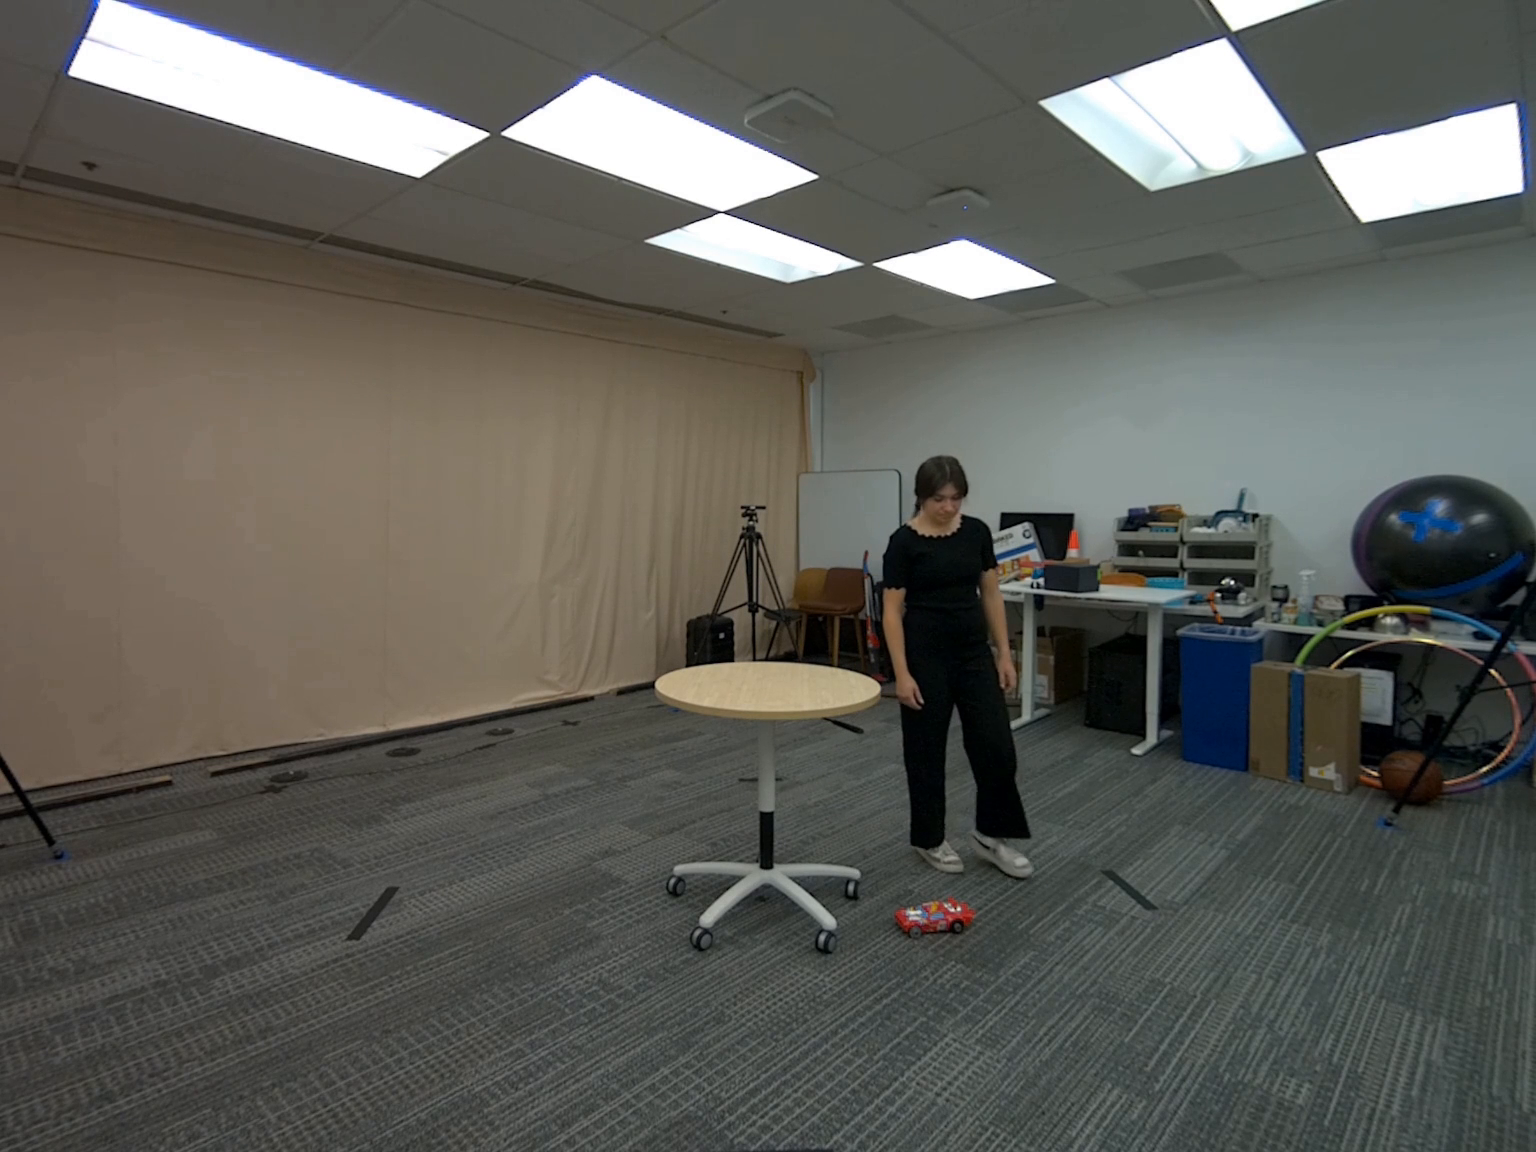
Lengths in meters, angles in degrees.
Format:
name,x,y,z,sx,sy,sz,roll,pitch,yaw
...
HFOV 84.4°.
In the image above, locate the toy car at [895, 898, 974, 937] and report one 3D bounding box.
name,x,y,z,sx,sy,sz,roll,pitch,yaw
toy car,0.555,1.127,2.769,0.252,0.083,0.132,-12,7,-9
